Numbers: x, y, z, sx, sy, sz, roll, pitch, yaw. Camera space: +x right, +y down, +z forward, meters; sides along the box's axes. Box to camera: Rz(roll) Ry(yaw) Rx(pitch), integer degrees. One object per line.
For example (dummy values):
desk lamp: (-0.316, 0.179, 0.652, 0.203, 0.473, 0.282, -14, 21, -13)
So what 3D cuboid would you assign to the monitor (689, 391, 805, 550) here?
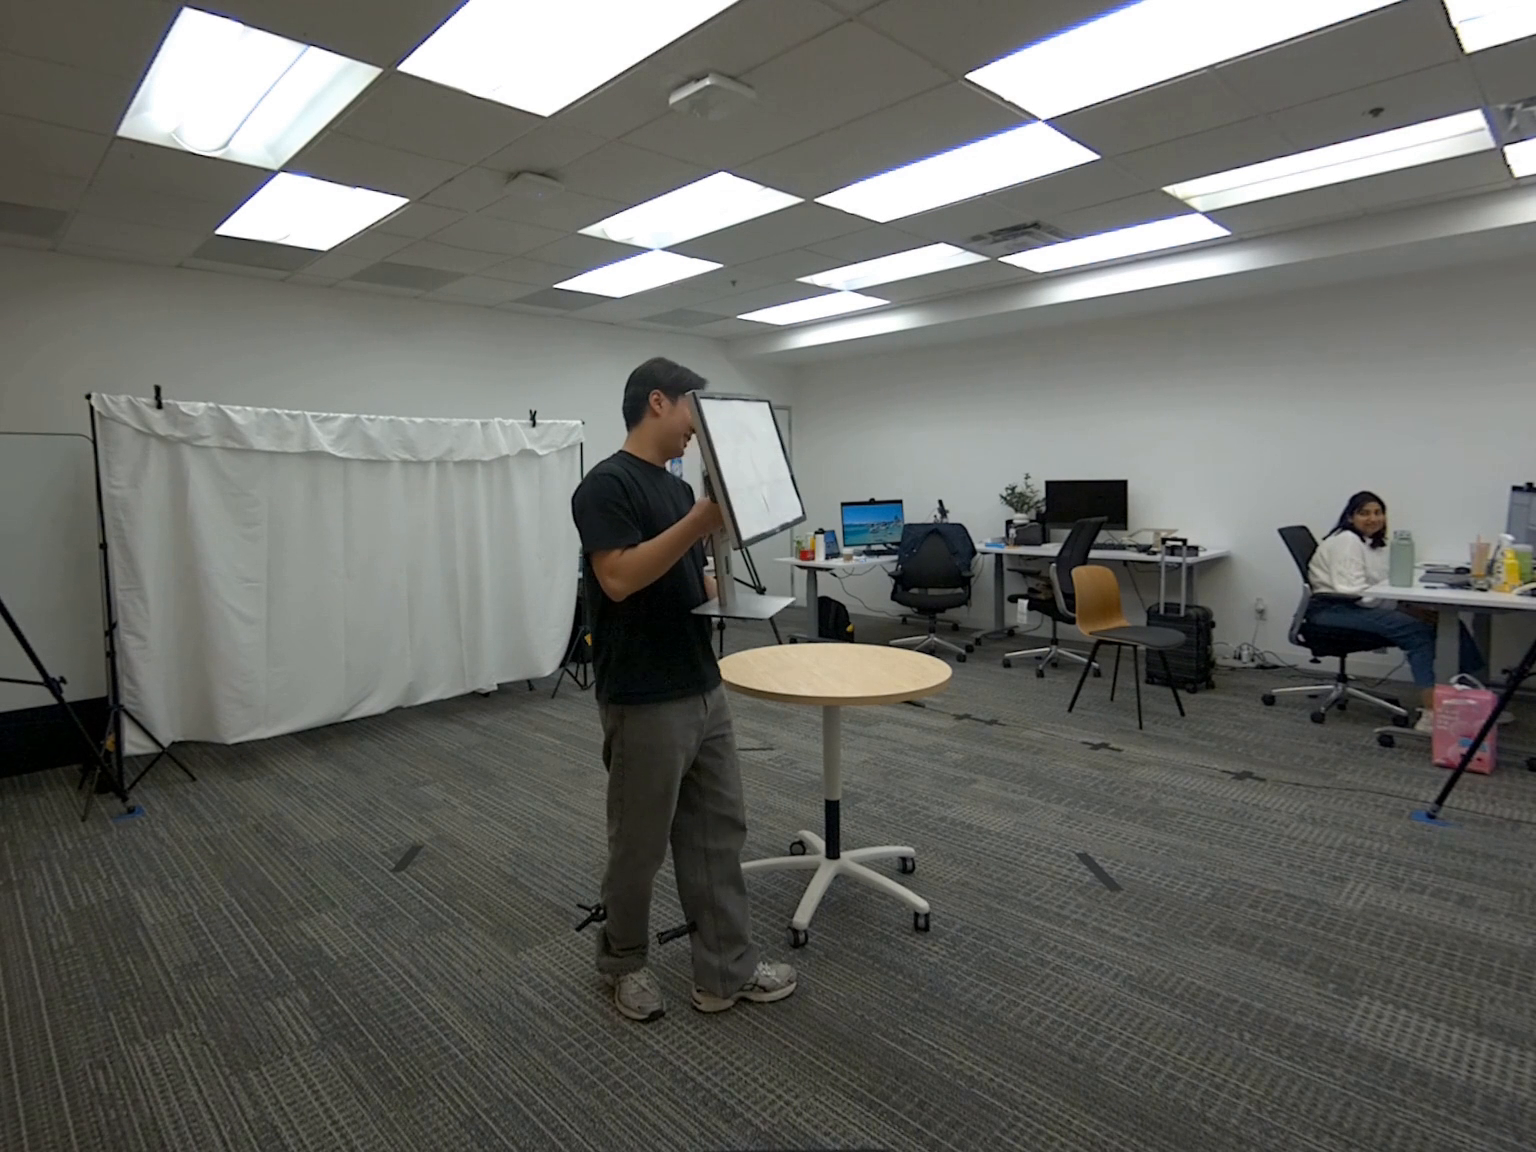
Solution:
monitor: (-0.058, -0.173, 2.155, 0.227, 0.561, 0.555, 1, 10, 20)
